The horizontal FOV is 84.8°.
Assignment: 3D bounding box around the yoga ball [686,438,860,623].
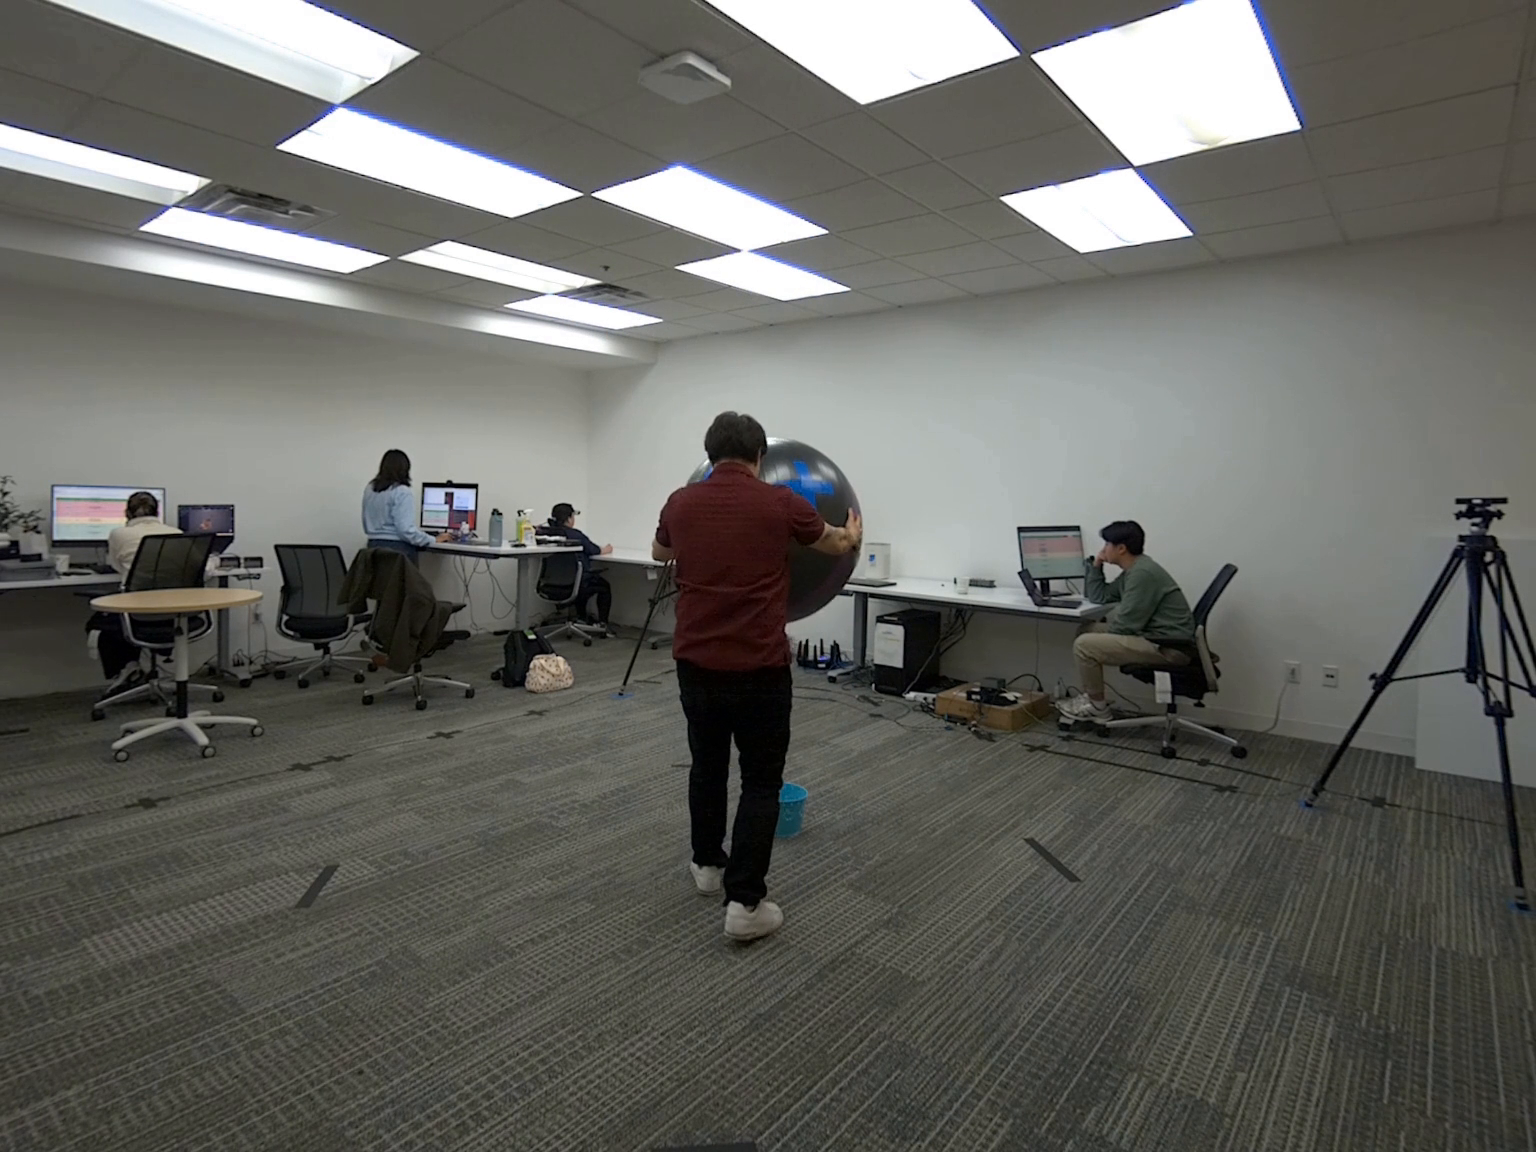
[{"bbox_3d":[-0.005,-0.179,3.431,0.757,0.756,0.762,1,4,-2],"label":"yoga ball"}]
